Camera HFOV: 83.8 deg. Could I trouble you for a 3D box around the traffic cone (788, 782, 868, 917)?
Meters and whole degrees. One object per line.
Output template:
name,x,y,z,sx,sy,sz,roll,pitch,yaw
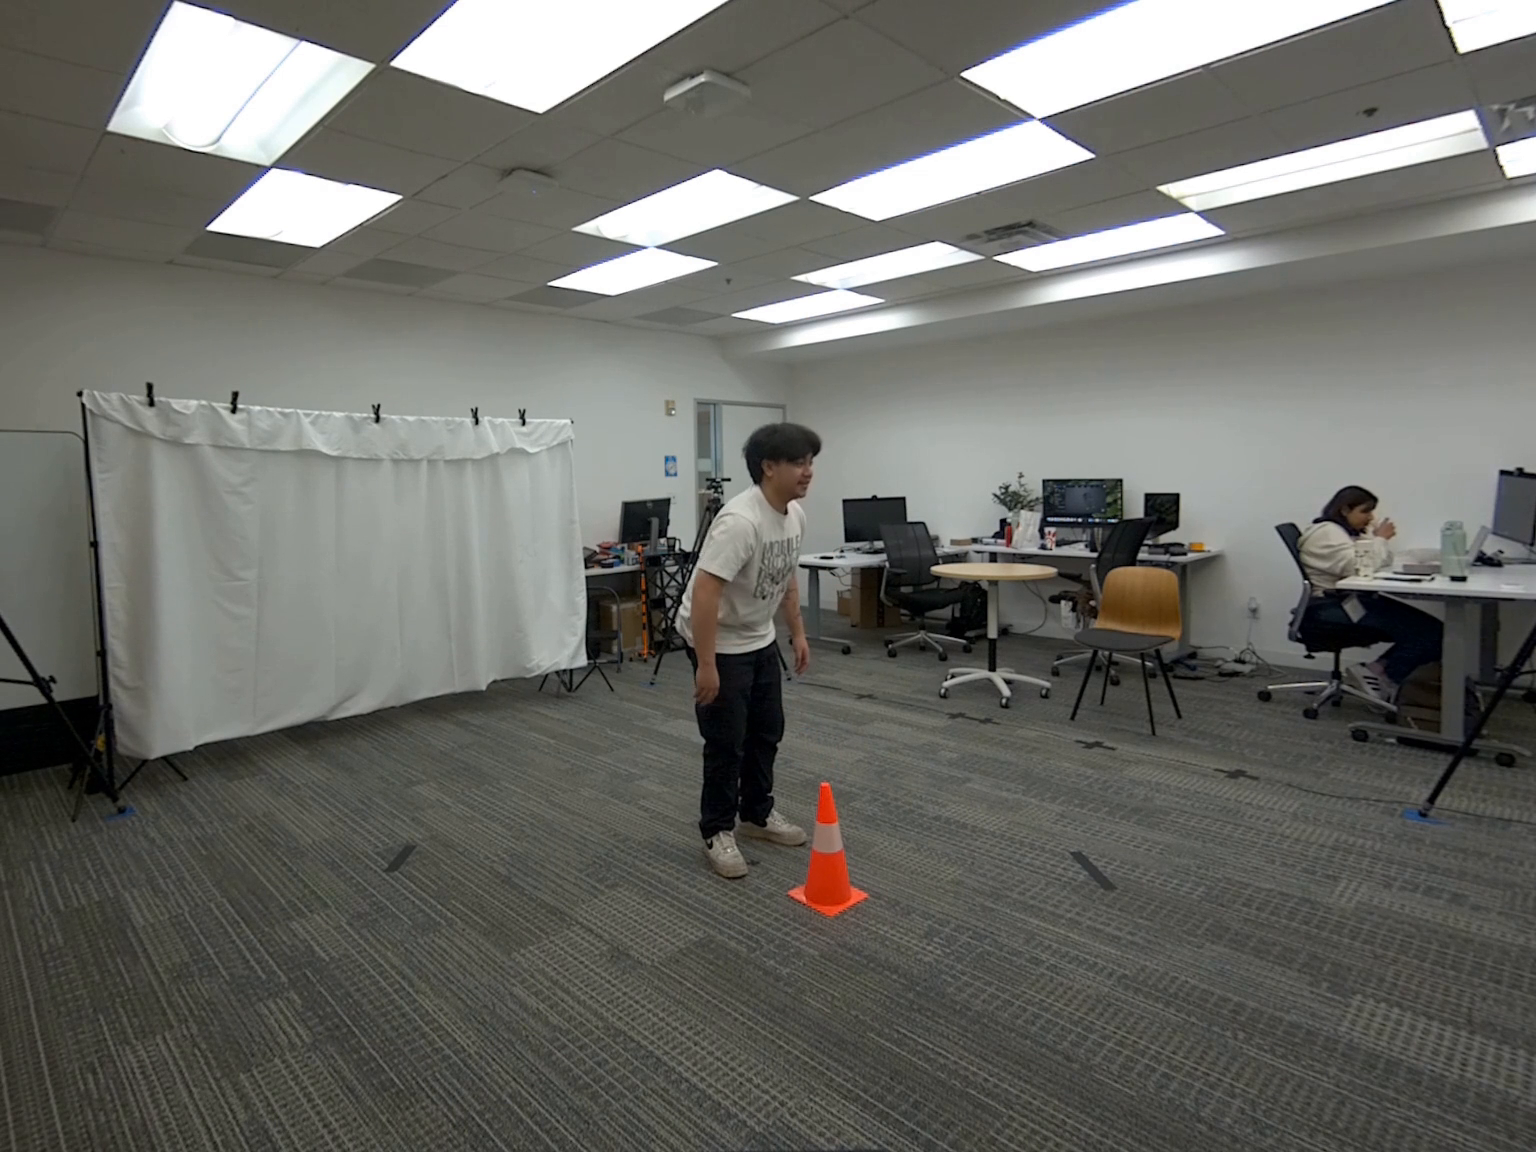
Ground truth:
traffic cone,0.199,0.879,2.838,0.200,0.382,0.209,-6,6,-38
